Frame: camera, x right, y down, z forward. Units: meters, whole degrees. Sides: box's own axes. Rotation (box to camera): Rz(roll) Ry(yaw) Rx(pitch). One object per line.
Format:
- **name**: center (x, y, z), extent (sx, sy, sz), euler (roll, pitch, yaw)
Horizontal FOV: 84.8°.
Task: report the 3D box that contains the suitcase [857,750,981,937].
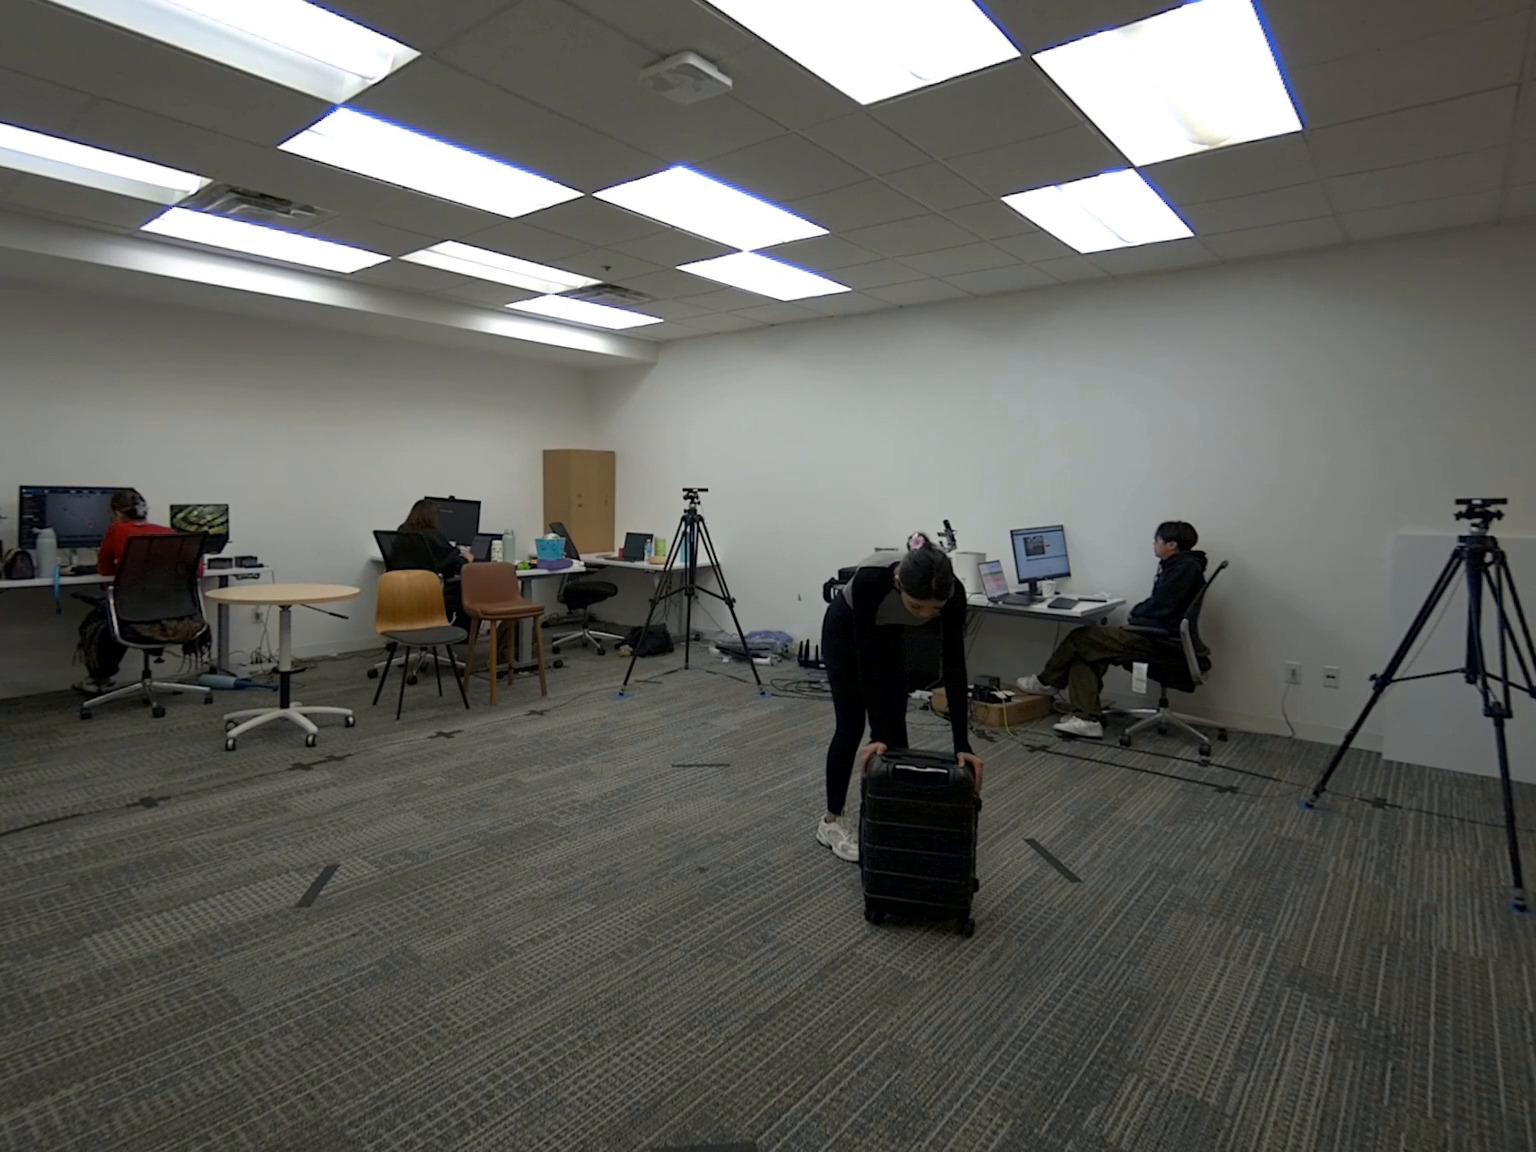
- **suitcase**: center (0.489, 0.842, 2.799), extent (0.381, 0.546, 0.246), euler (1, 6, 12)
